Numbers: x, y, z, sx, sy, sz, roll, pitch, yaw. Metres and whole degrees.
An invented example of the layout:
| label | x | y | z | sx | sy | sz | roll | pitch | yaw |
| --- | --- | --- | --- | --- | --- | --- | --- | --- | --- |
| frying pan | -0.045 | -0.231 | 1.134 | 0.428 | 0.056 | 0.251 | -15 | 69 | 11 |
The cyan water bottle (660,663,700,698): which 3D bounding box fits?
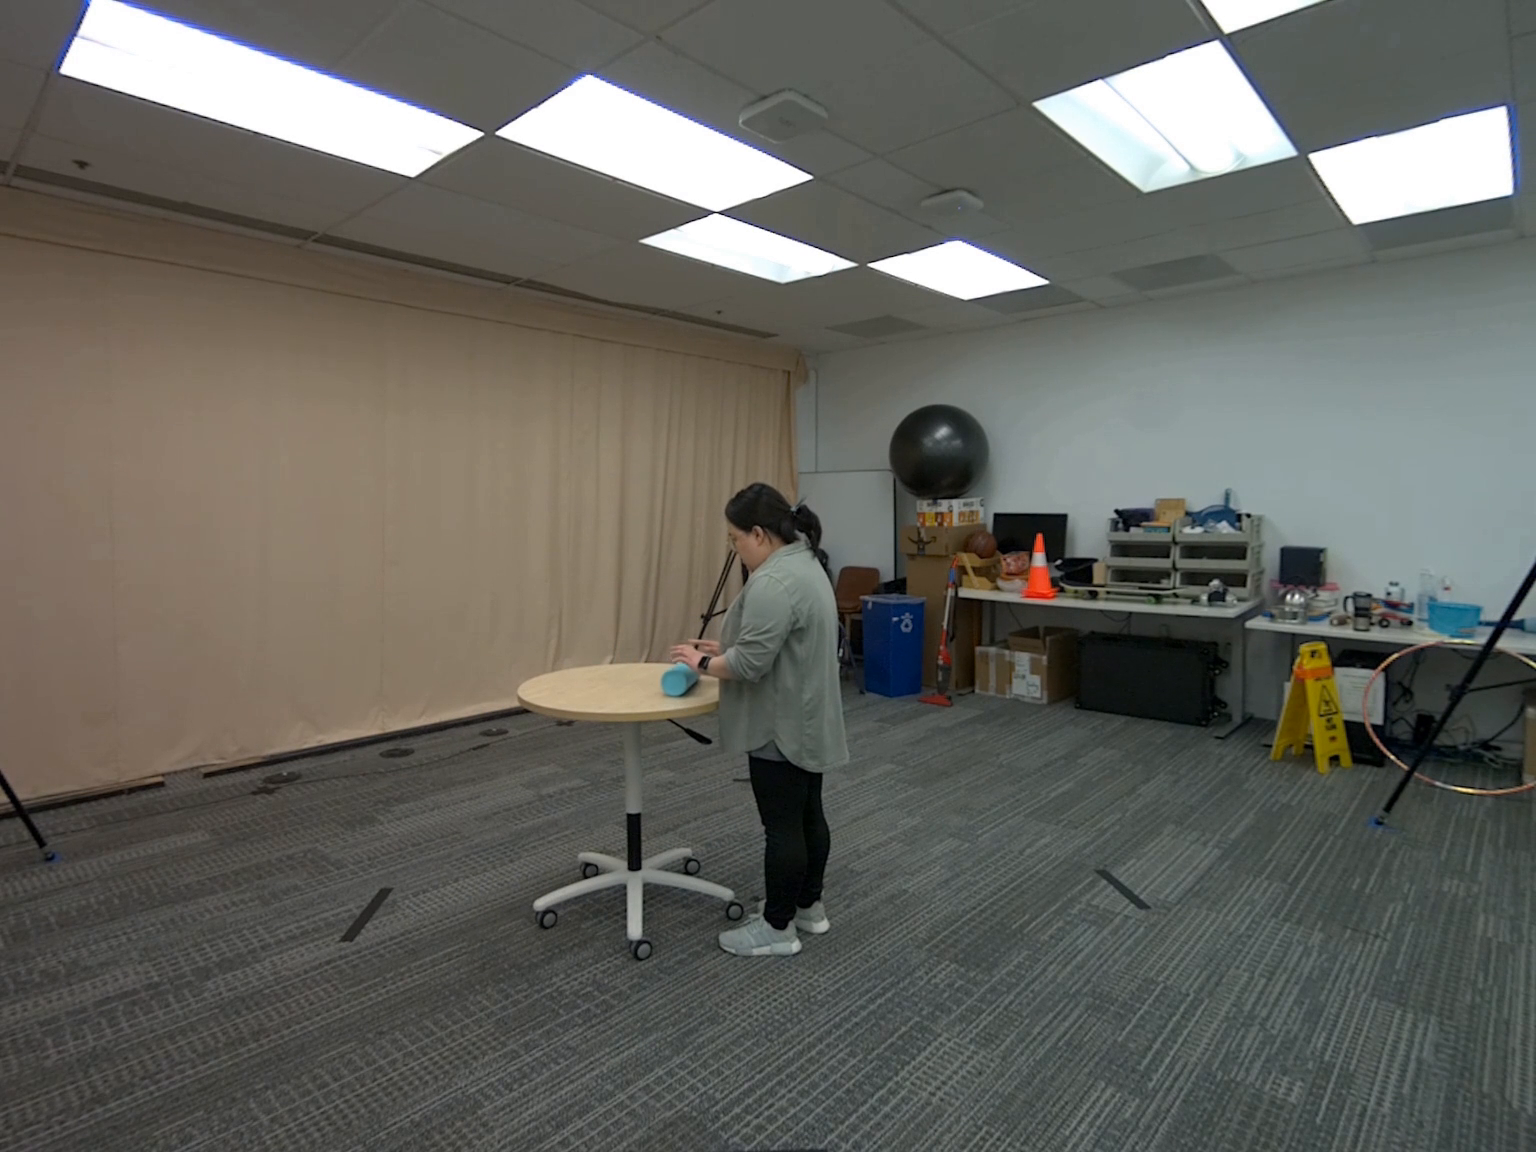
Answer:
| label | x | y | z | sx | sy | sz | roll | pitch | yaw |
| --- | --- | --- | --- | --- | --- | --- | --- | --- | --- |
| cyan water bottle | -0.276 | 0.332 | 2.827 | 0.093 | 0.092 | 0.281 | 0 | 5 | 8 |
